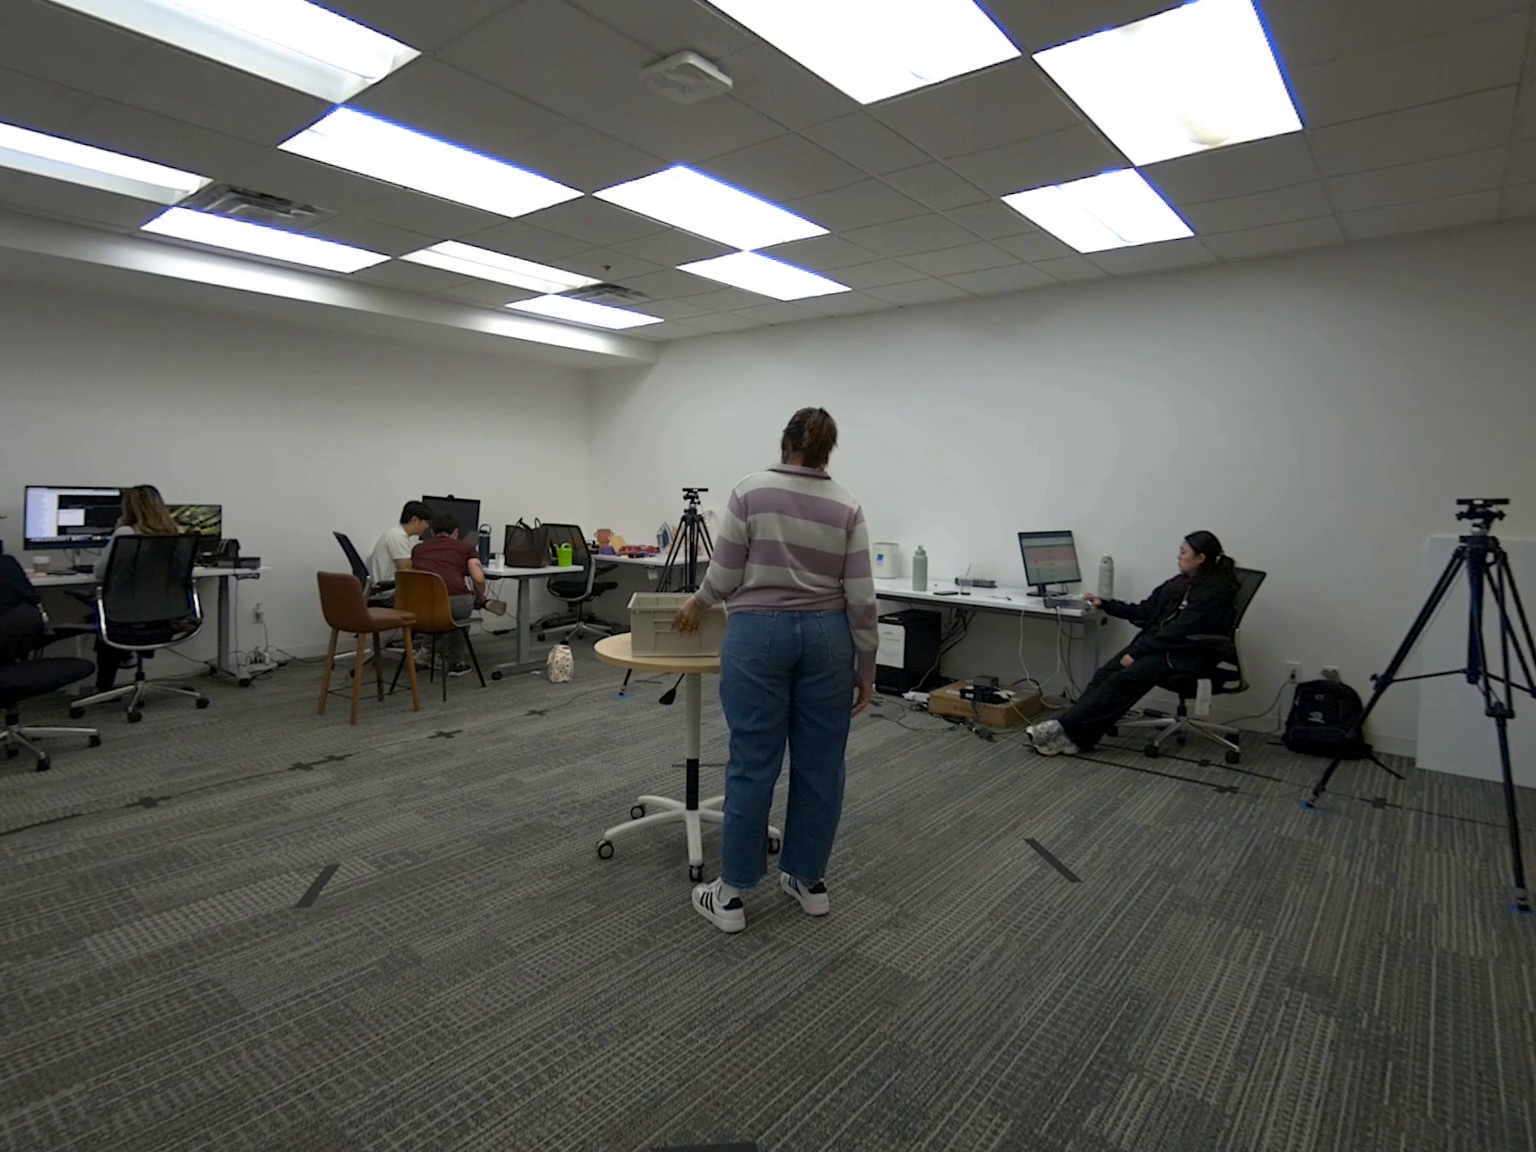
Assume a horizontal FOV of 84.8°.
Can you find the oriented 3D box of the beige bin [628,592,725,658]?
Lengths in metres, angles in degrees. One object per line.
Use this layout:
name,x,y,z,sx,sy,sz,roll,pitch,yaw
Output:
beige bin,-0.346,0.175,3.261,0.376,0.188,0.426,-2,7,-3
